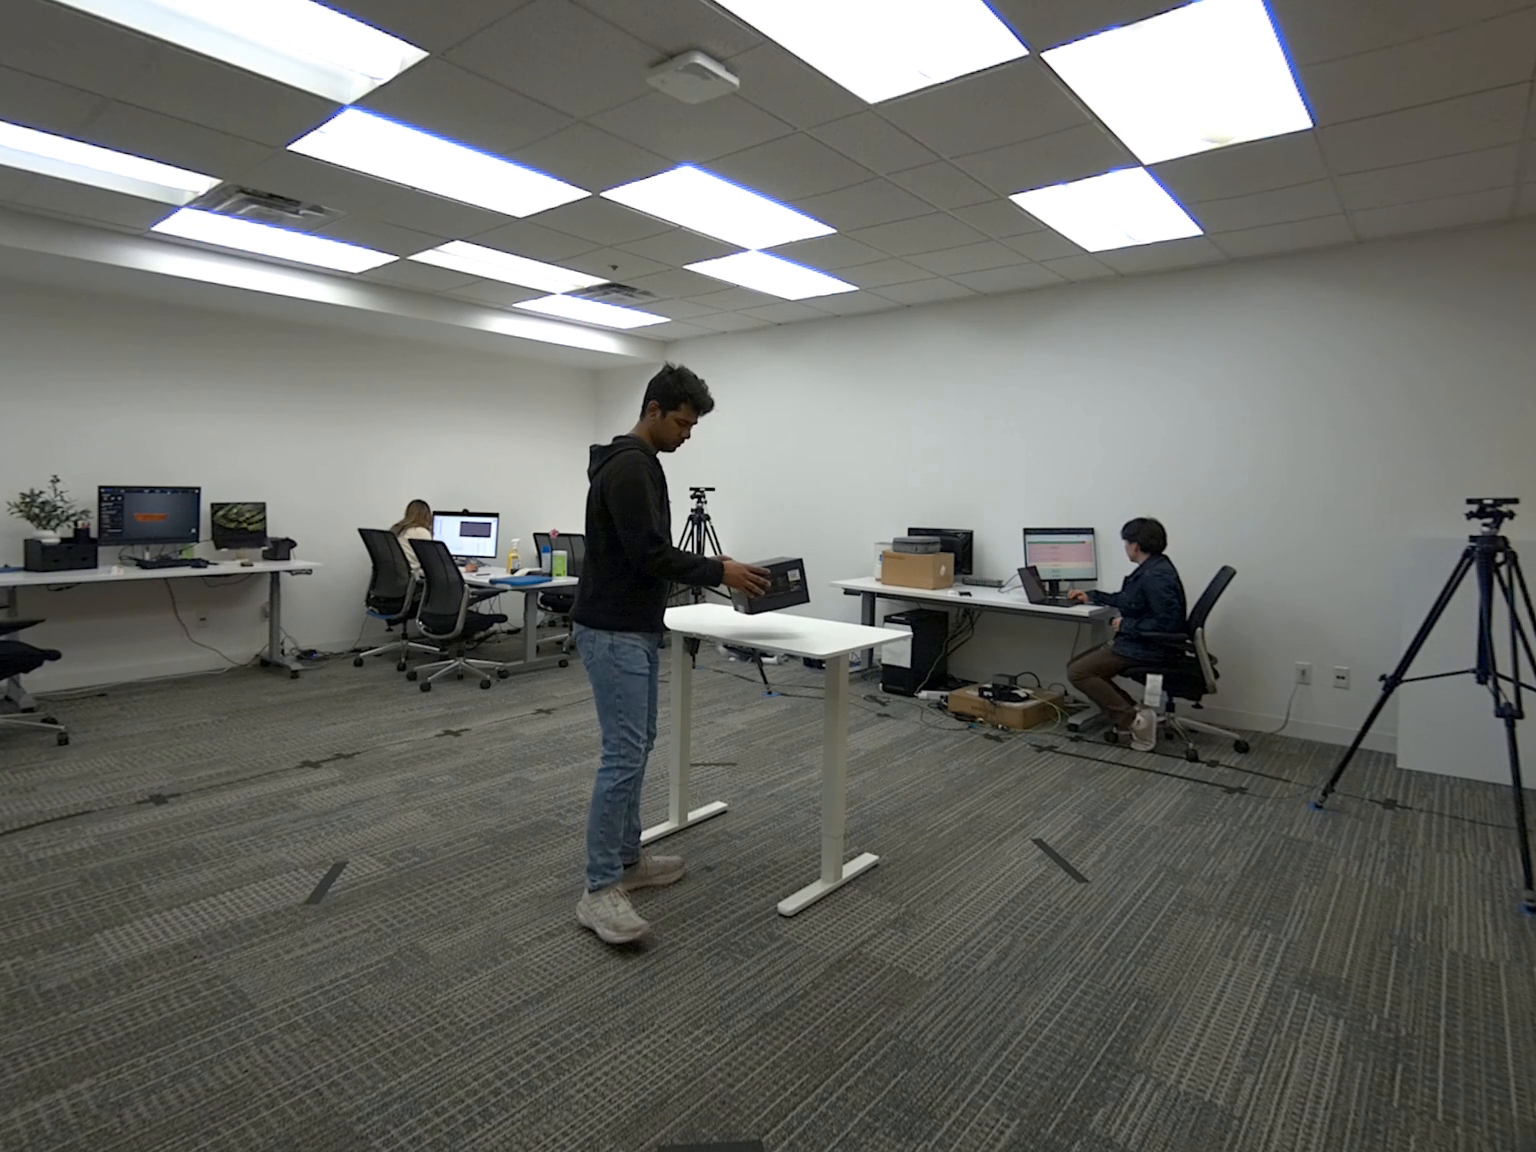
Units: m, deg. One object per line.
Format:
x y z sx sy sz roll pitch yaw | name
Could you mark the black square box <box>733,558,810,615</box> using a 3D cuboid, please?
-0.022 0.037 2.953 0.214 0.155 0.231 -8 5 -12 | black square box
